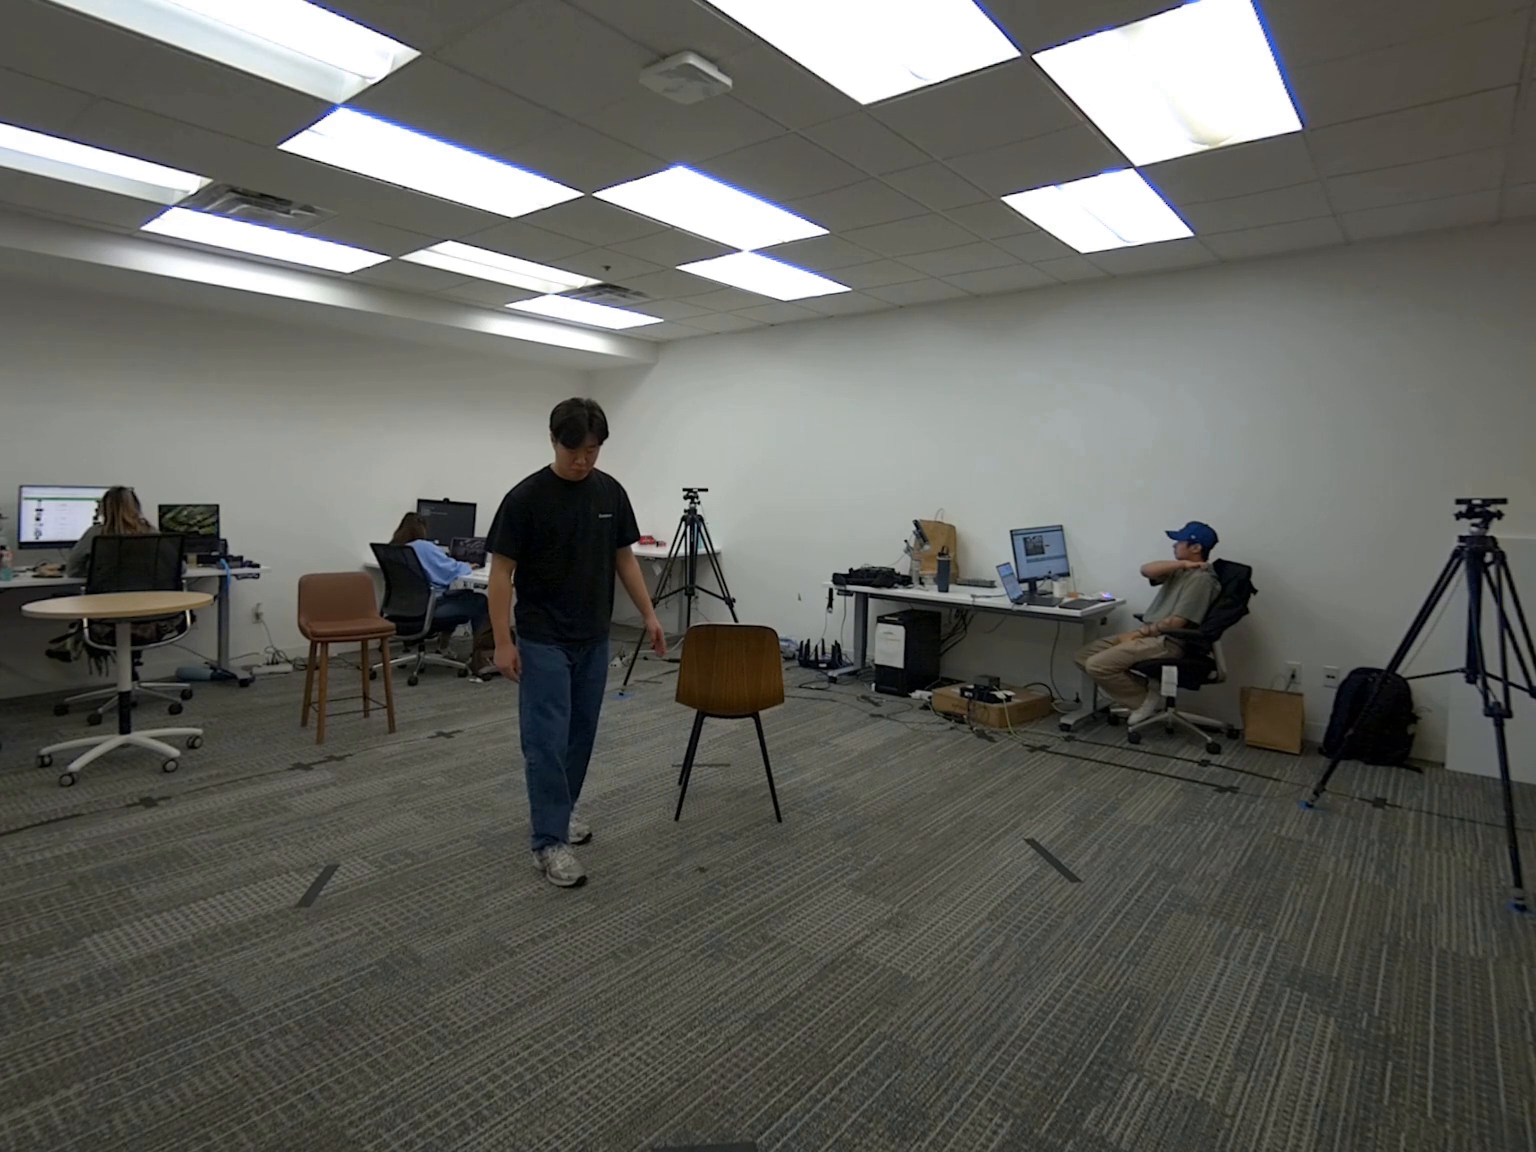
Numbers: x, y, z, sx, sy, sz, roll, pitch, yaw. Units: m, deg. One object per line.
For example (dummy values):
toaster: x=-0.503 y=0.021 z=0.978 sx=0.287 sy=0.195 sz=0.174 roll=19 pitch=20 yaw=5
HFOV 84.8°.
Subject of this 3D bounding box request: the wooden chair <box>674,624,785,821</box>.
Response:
wooden chair: x=-0.194 y=0.575 z=3.766 sx=0.477 sy=0.871 sz=0.528 roll=0 pitch=7 yaw=-3
